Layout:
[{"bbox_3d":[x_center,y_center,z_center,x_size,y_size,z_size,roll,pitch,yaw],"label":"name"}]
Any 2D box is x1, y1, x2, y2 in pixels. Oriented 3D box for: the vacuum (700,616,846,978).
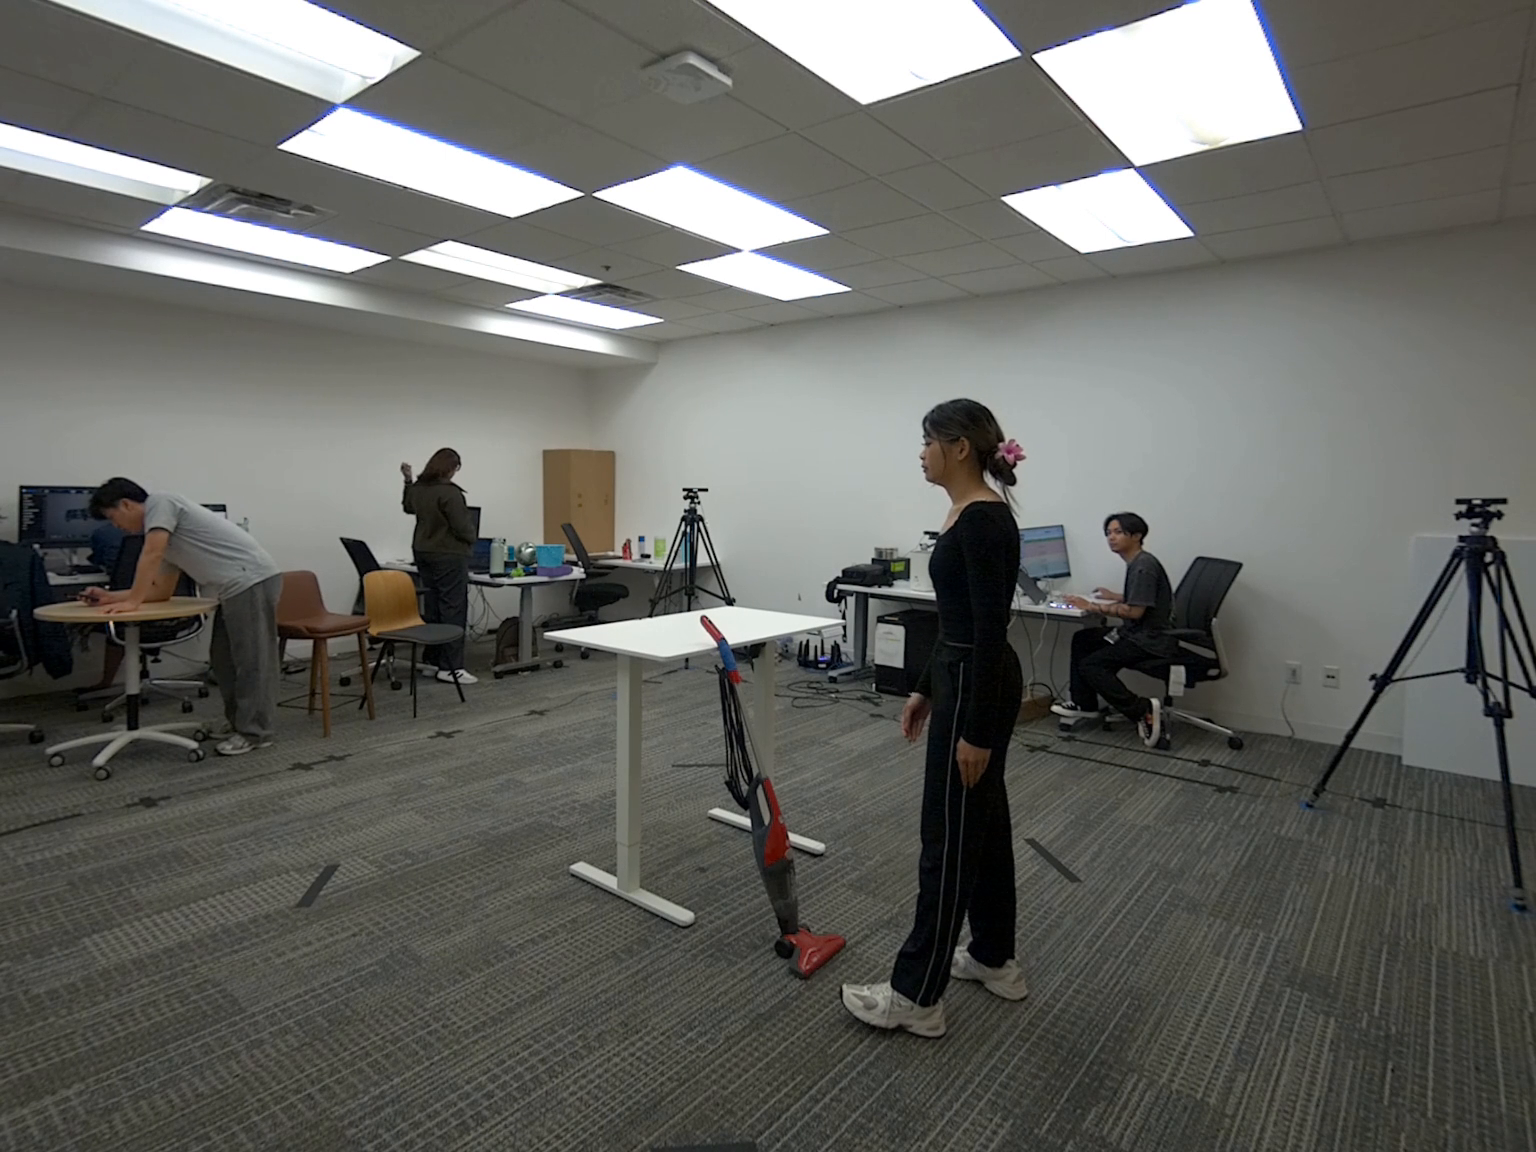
[{"bbox_3d":[-0.052,0.638,2.651,0.146,1.064,0.245,-27,-14,37],"label":"vacuum"}]
